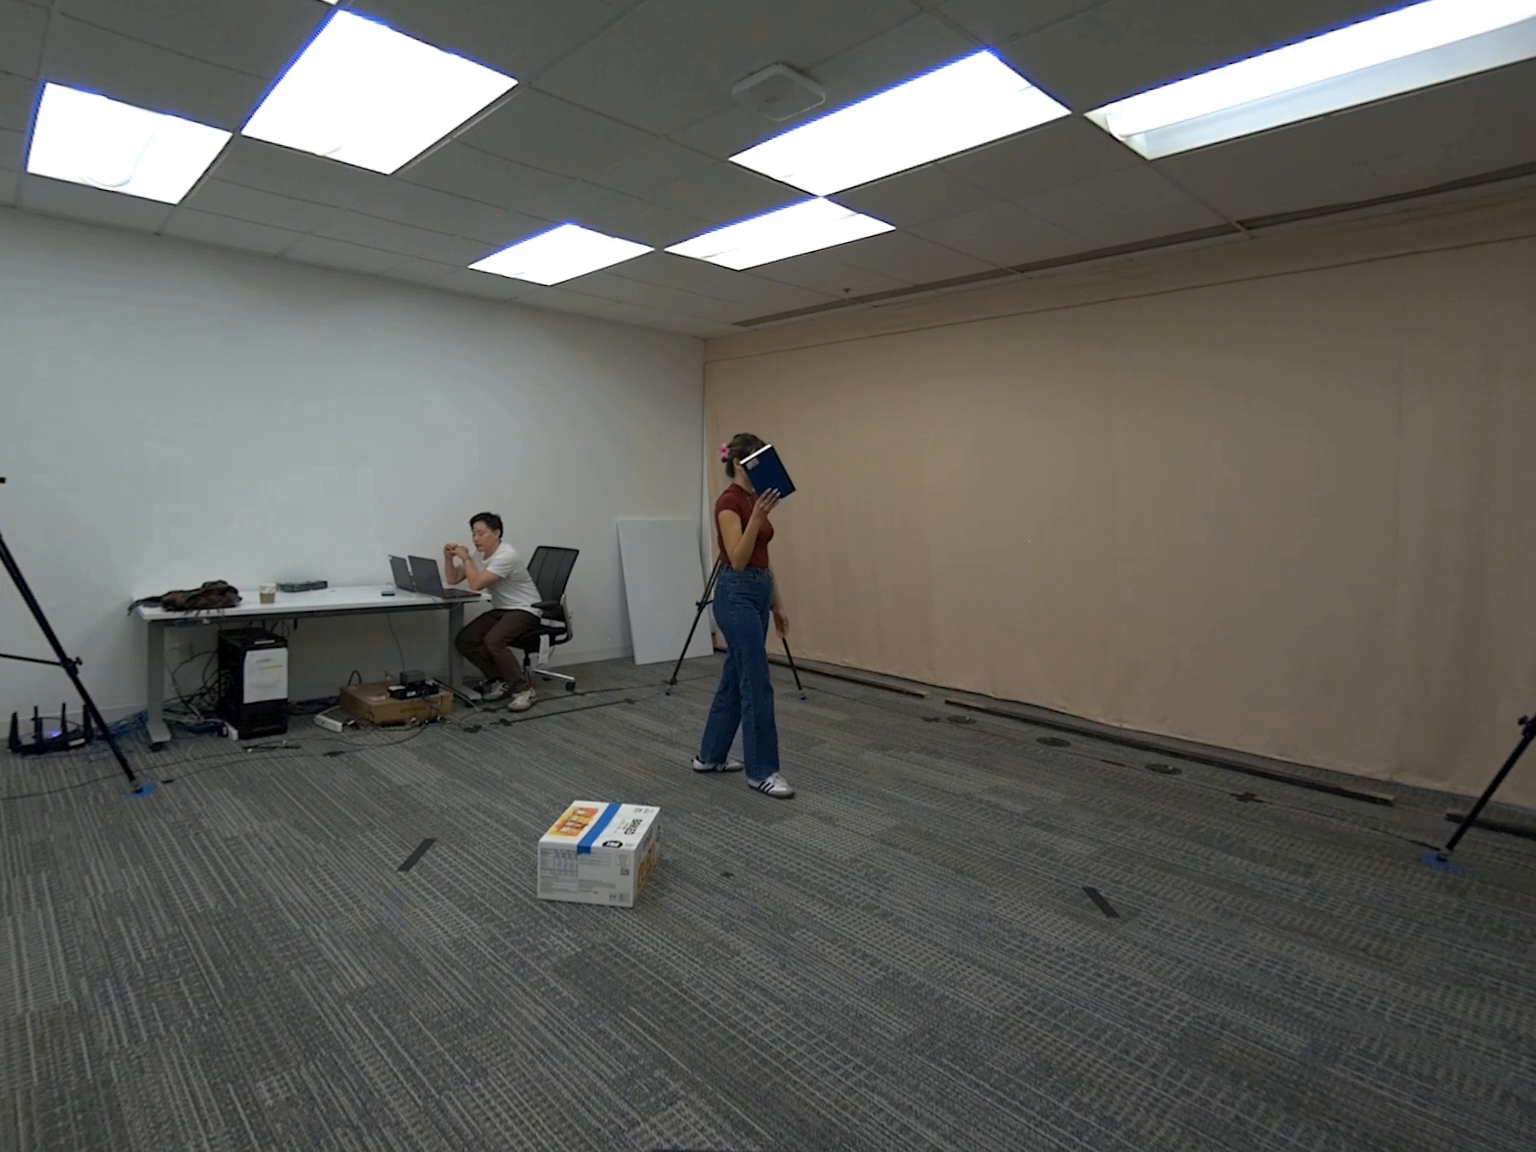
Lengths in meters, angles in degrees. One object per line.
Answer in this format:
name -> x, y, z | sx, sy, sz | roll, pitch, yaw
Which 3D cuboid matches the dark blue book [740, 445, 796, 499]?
dark blue book -> -0.010, -0.444, 3.726 | 0.163, 0.240, 0.046 | -31, 21, -2
